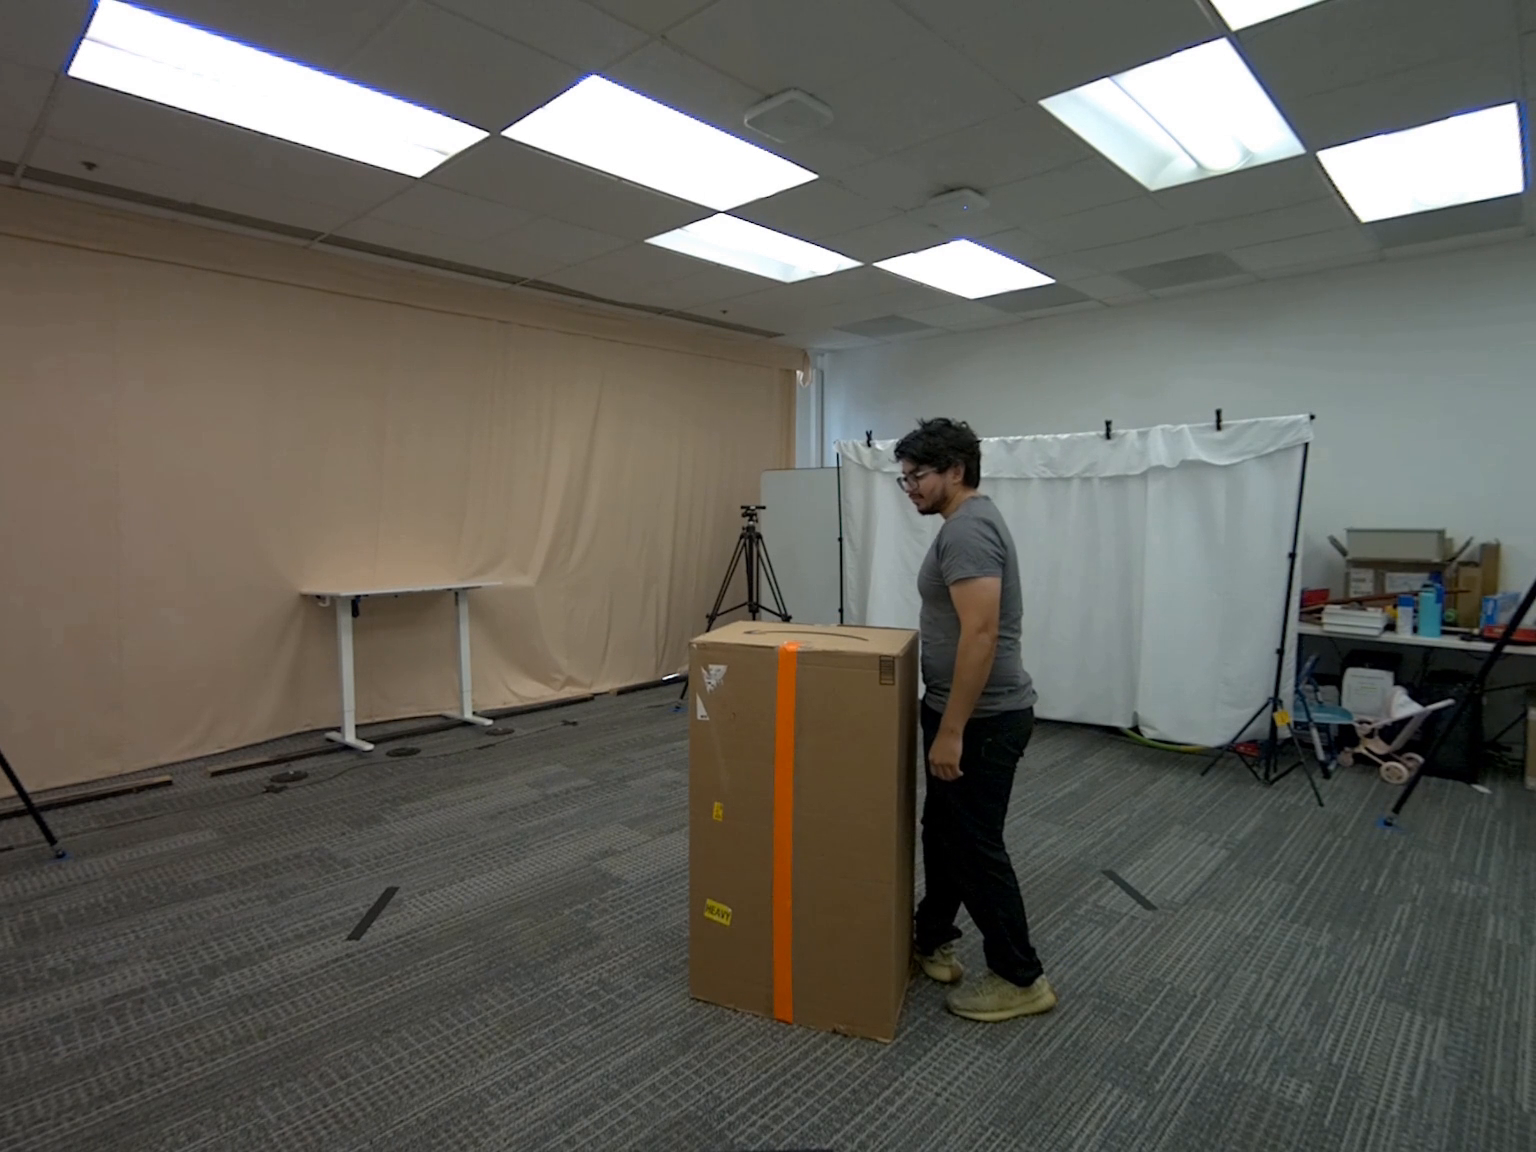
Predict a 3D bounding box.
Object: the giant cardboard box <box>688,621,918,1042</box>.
[{"bbox_3d":[0.112,0.683,2.447,0.596,1.025,0.438,1,3,19],"label":"giant cardboard box"}]
